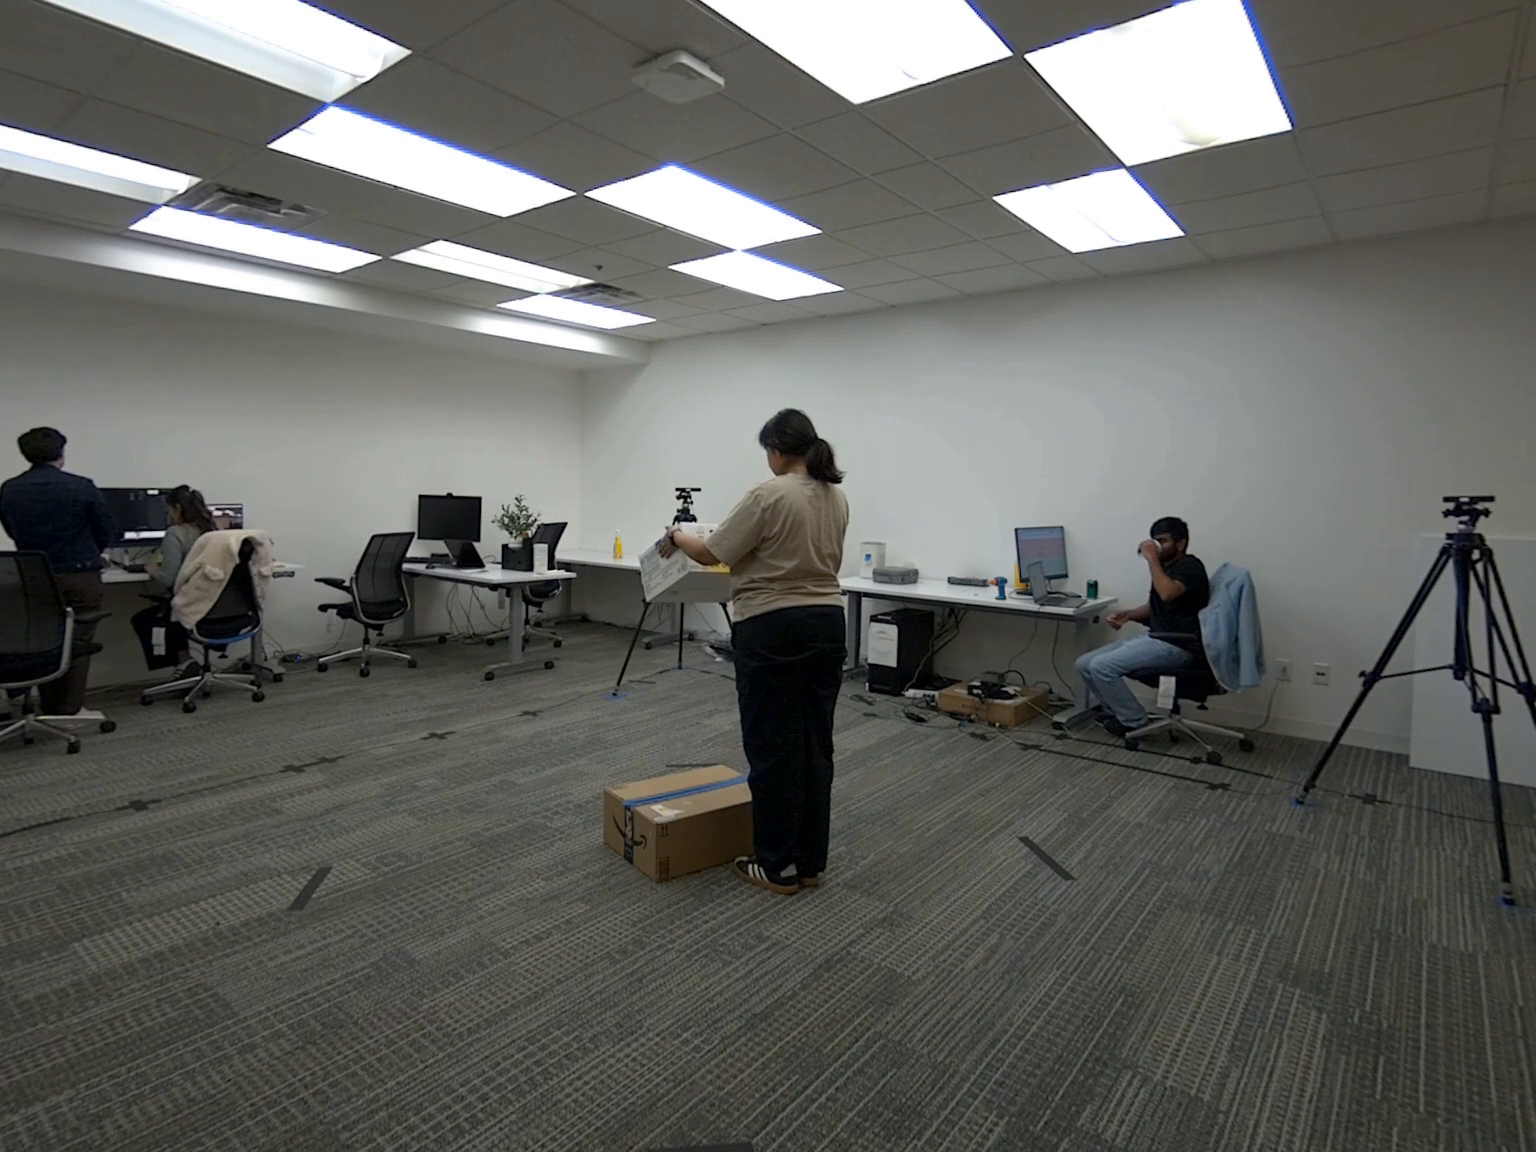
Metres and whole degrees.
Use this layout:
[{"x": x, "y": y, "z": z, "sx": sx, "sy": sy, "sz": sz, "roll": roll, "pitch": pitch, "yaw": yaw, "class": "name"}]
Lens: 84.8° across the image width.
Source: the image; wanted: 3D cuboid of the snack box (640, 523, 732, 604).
[{"x": -0.263, "y": -0.047, "z": 3.404, "sx": 0.392, "sy": 0.210, "sz": 0.344, "roll": 2, "pitch": -23, "yaw": -37, "class": "snack box"}]
